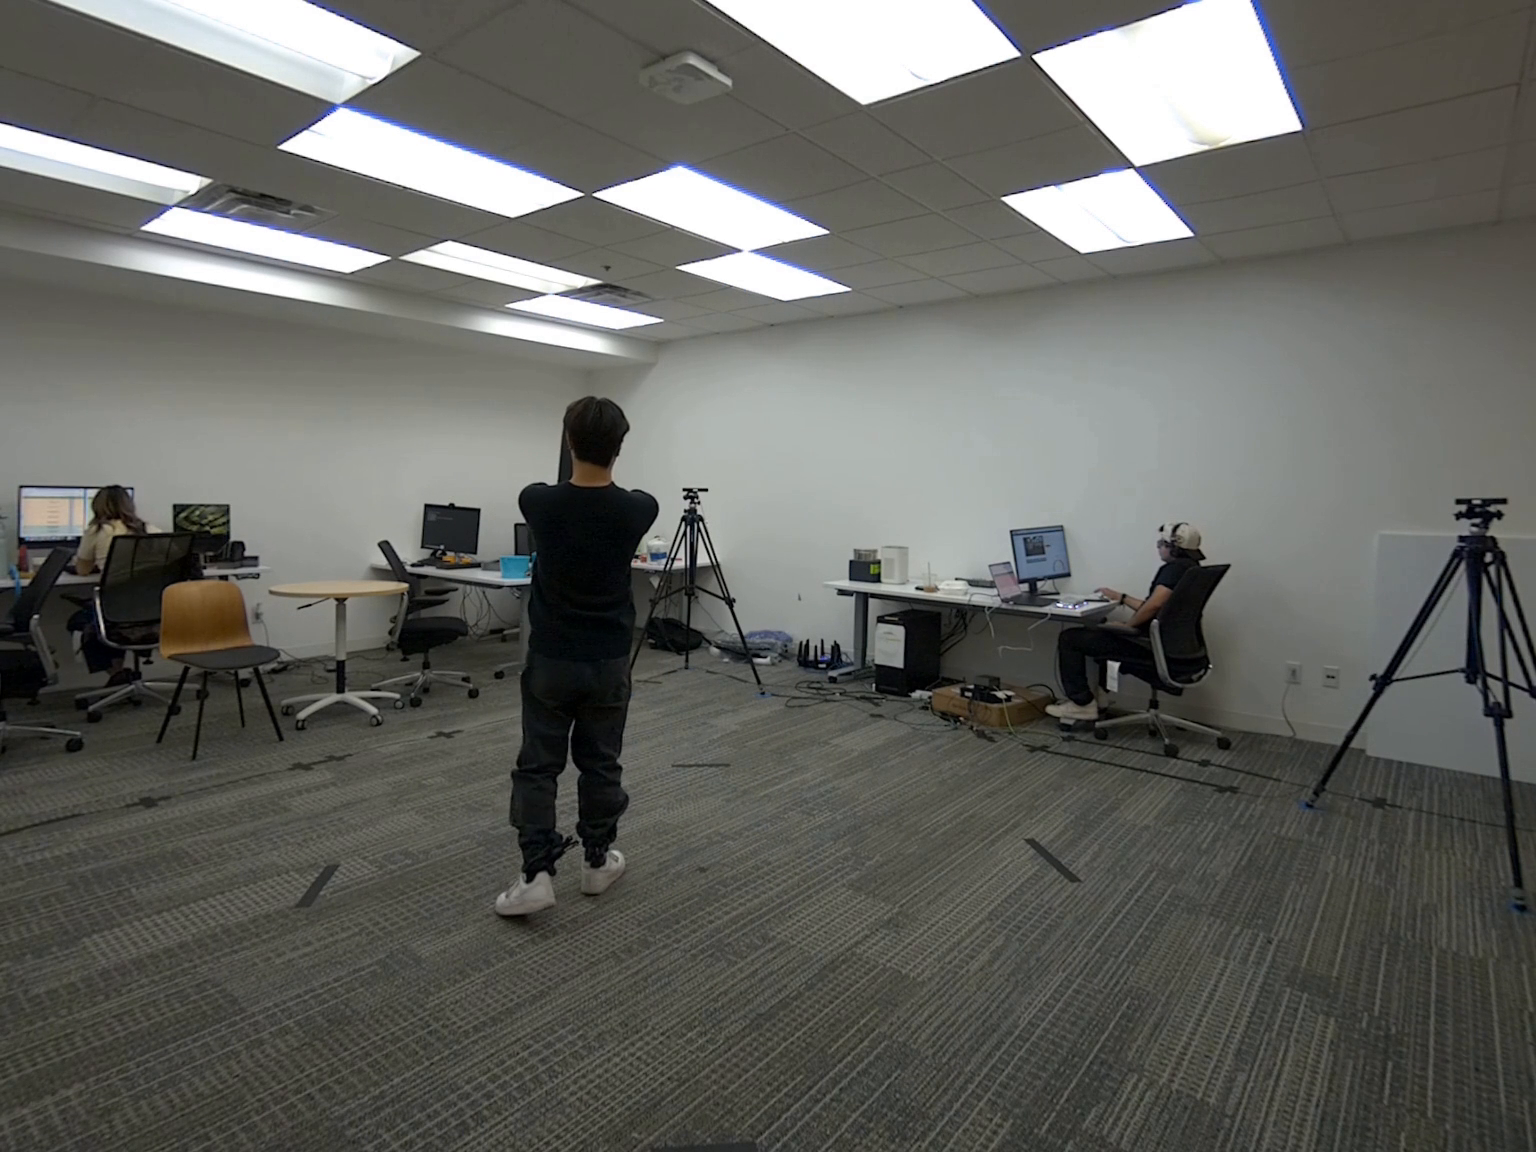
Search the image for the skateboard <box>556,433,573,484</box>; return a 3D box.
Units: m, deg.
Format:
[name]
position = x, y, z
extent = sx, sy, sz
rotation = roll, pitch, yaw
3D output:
[skateboard]
position = -0.782, -0.289, 3.454
extent = 0.191, 0.786, 0.112
rotation = 5, -1, -13
